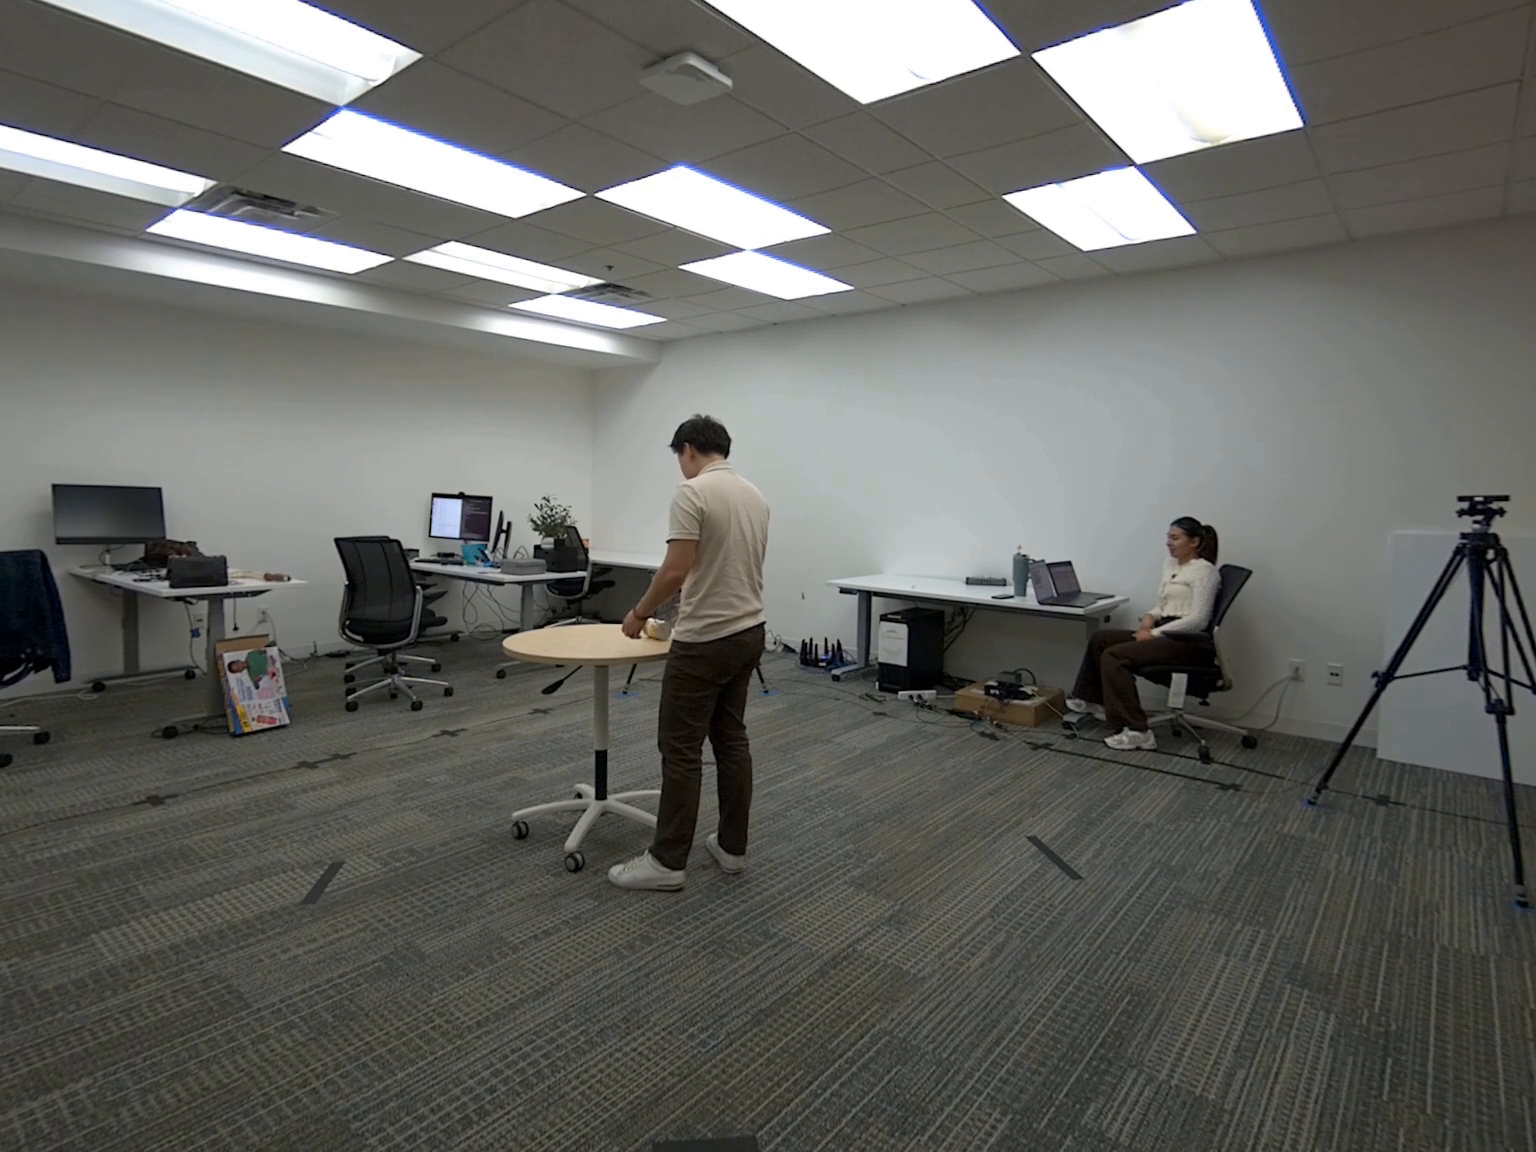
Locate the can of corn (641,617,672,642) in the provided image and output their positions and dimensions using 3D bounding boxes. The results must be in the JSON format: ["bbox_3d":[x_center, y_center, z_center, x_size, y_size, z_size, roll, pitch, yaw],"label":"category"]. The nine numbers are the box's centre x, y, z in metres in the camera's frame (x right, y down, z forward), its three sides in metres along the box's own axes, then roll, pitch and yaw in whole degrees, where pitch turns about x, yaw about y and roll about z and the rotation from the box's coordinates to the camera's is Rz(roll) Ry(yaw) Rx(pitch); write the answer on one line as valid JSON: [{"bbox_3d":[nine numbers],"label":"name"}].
[{"bbox_3d":[-0.453,0.207,3.414,0.072,0.074,0.114,-2,5,-32],"label":"can of corn"}]
